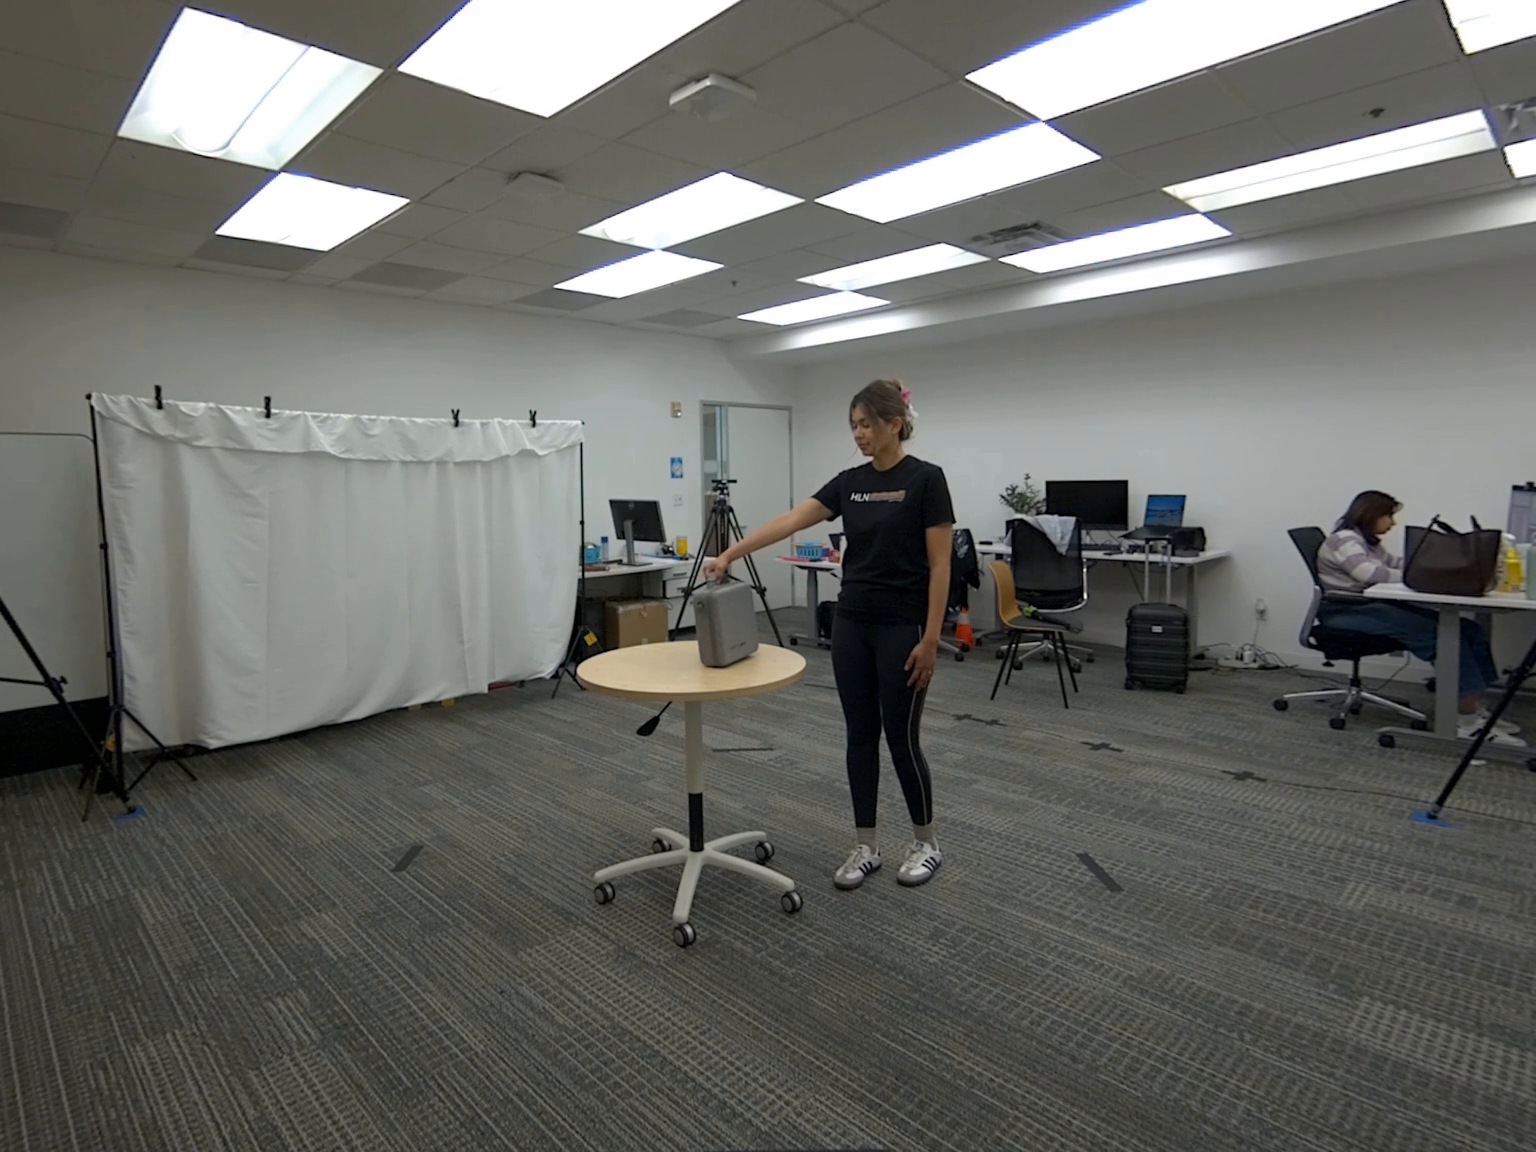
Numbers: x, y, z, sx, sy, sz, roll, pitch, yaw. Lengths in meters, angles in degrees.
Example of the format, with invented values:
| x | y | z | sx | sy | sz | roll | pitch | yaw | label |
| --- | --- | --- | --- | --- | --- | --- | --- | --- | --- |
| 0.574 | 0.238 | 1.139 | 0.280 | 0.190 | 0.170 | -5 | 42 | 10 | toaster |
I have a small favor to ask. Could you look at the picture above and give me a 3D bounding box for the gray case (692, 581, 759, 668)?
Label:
| x | y | z | sx | sy | sz | roll | pitch | yaw | label |
| --- | --- | --- | --- | --- | --- | --- | --- | --- | --- |
| -0.144 | 0.153 | 2.889 | 0.106 | 0.260 | 0.252 | -6 | 3 | 28 | gray case |
